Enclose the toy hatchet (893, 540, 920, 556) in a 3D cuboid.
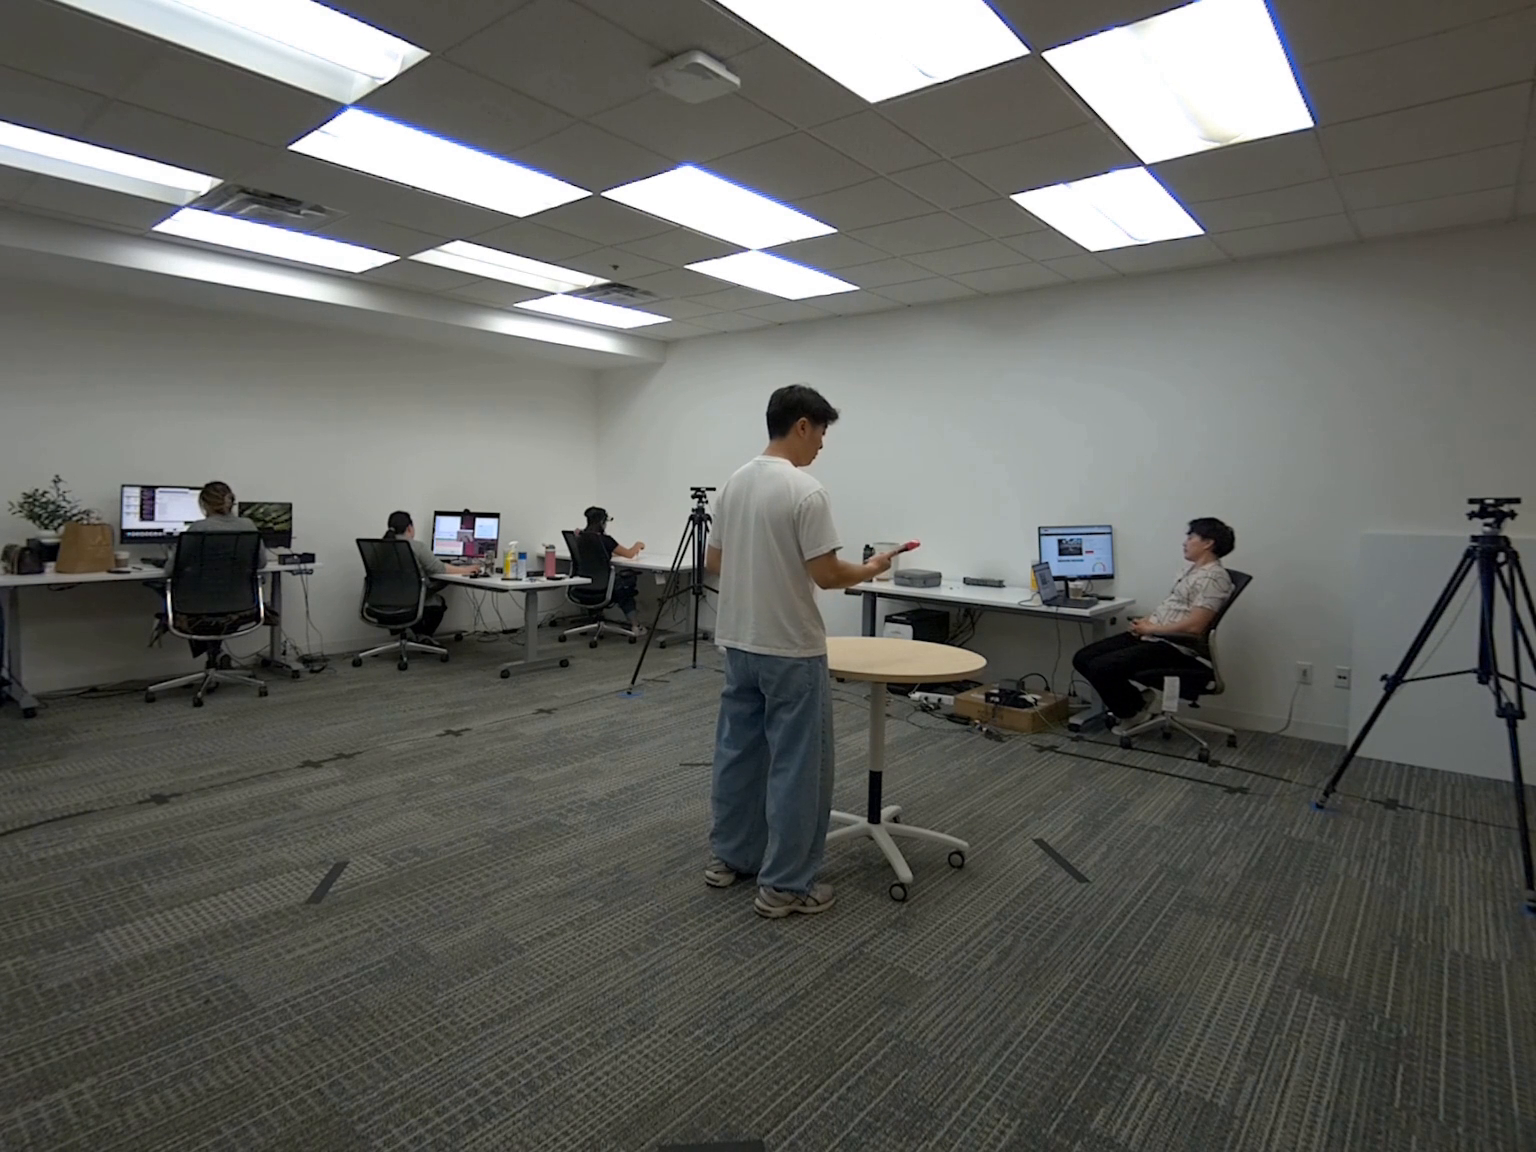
[{"bbox_3d":[0.390,-0.060,2.977,0.270,0.029,0.131,-22,3,2],"label":"toy hatchet"}]
